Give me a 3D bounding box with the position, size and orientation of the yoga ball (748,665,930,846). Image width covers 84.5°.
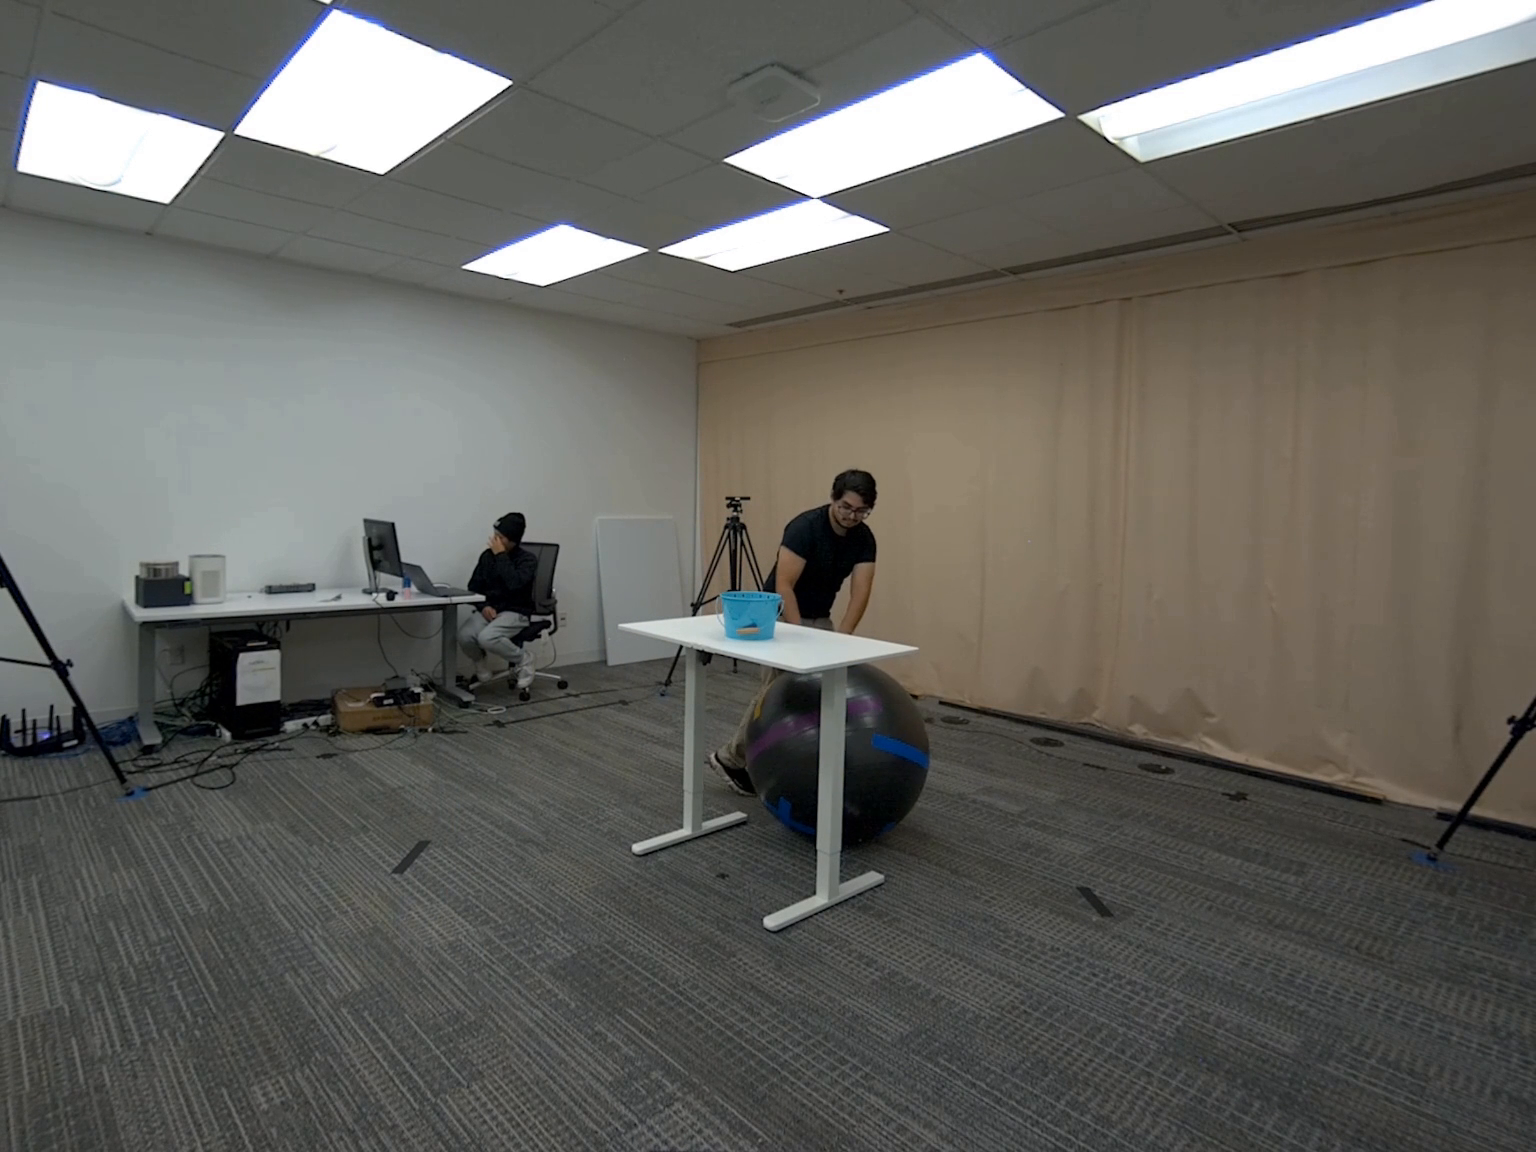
[{"bbox_3d":[0.290,0.721,3.503,0.757,0.756,0.761,1,4,-1],"label":"yoga ball"}]
